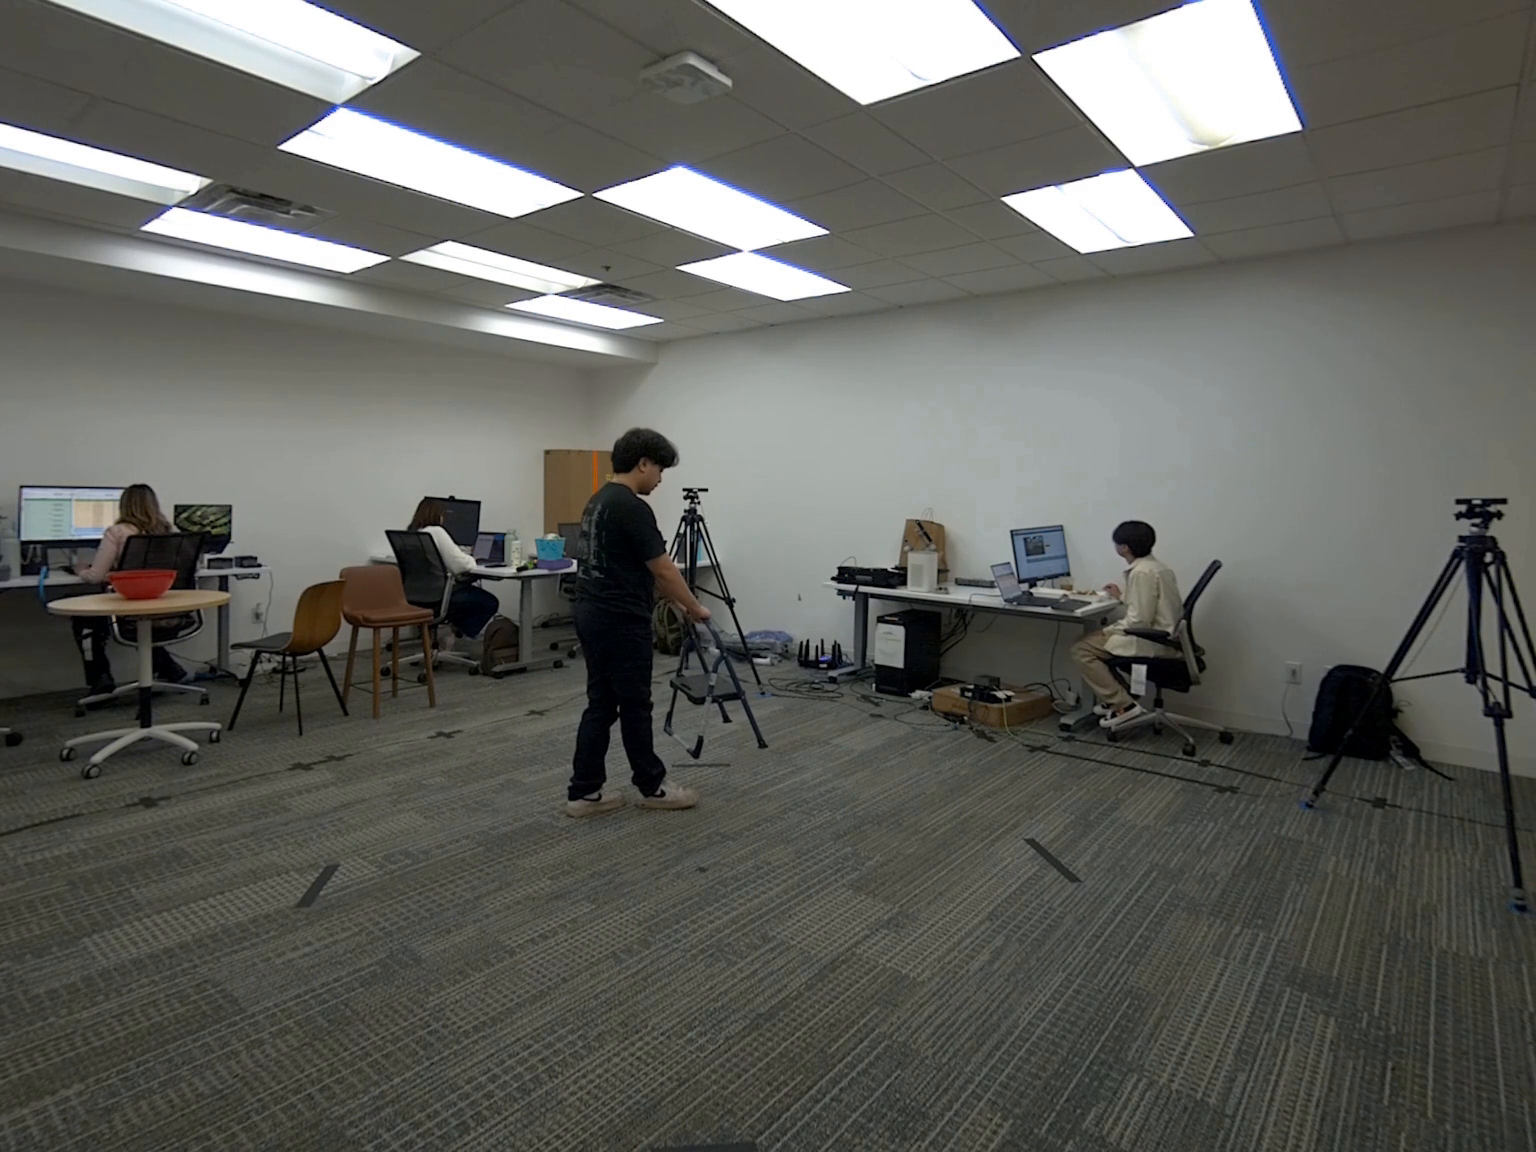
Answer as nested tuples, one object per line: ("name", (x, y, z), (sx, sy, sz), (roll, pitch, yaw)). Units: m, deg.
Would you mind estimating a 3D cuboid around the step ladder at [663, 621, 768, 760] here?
("step ladder", (-0.270, 0.449, 3.851), (0.341, 0.602, 0.443), (-5, 7, -25))
